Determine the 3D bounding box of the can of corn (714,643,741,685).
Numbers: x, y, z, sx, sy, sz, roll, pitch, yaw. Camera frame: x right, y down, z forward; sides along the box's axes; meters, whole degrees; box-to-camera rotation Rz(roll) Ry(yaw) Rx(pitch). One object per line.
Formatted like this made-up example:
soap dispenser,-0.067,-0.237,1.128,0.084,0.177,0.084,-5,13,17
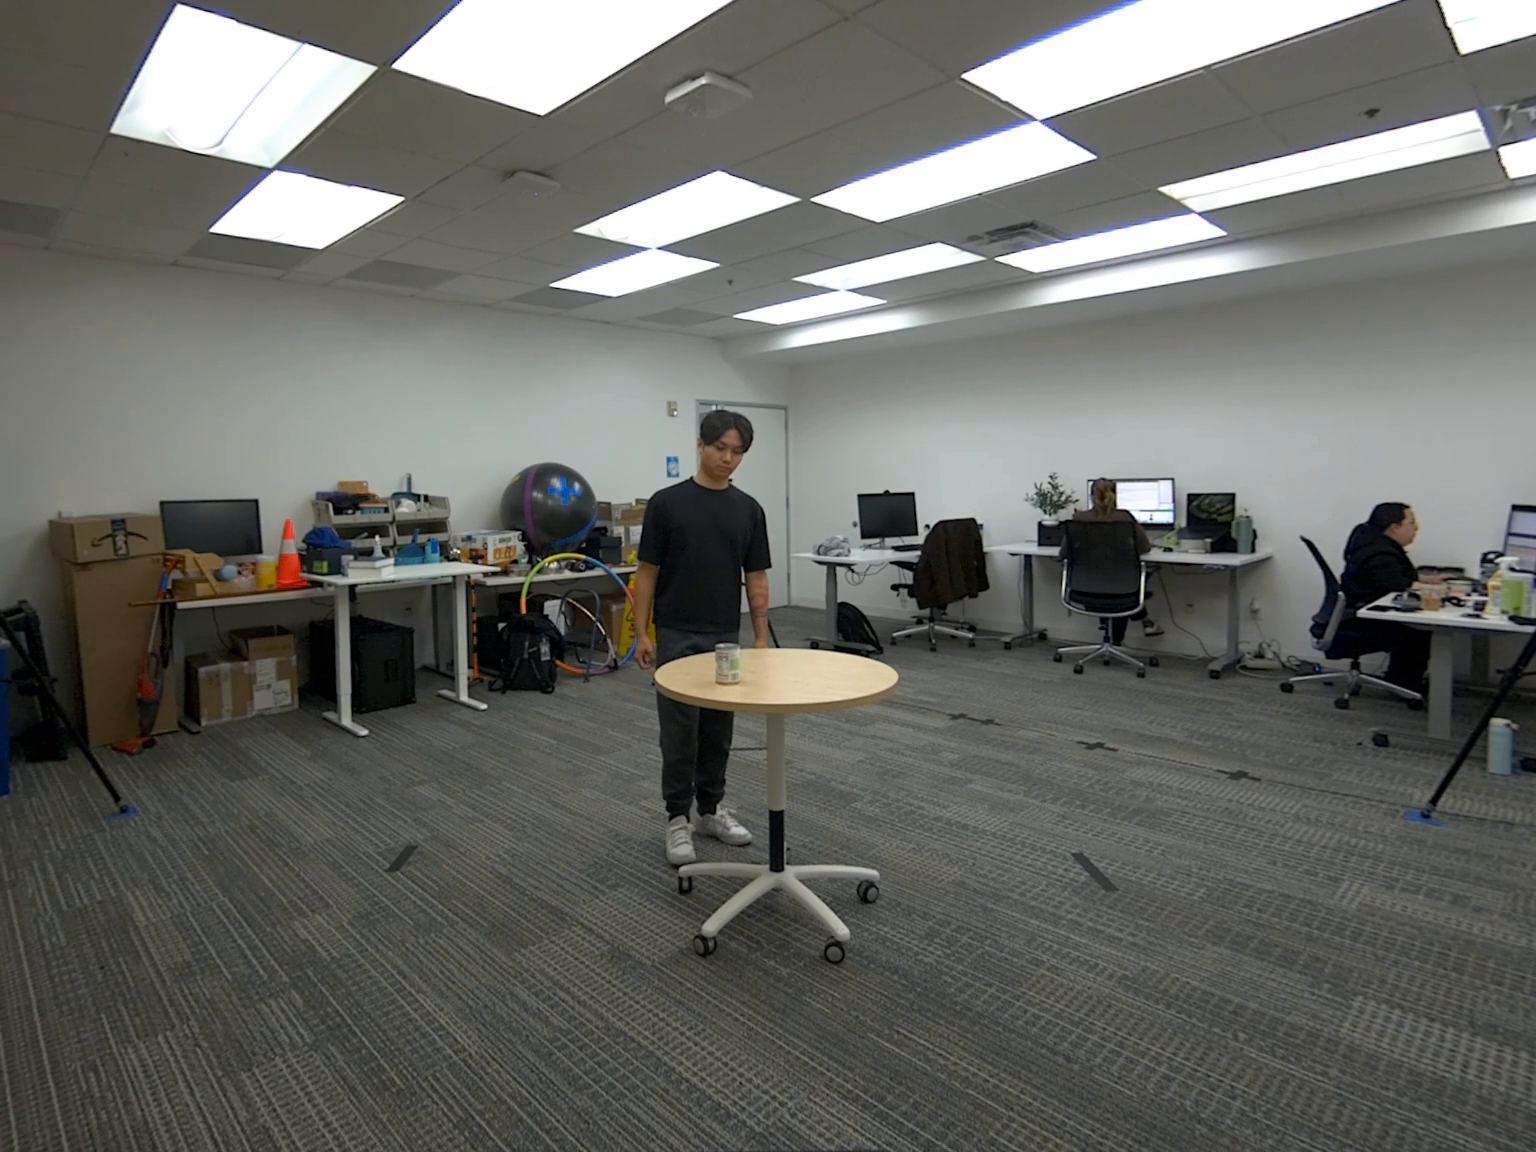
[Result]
can of corn,-0.116,0.269,2.575,0.074,0.110,0.075,-4,6,-1
